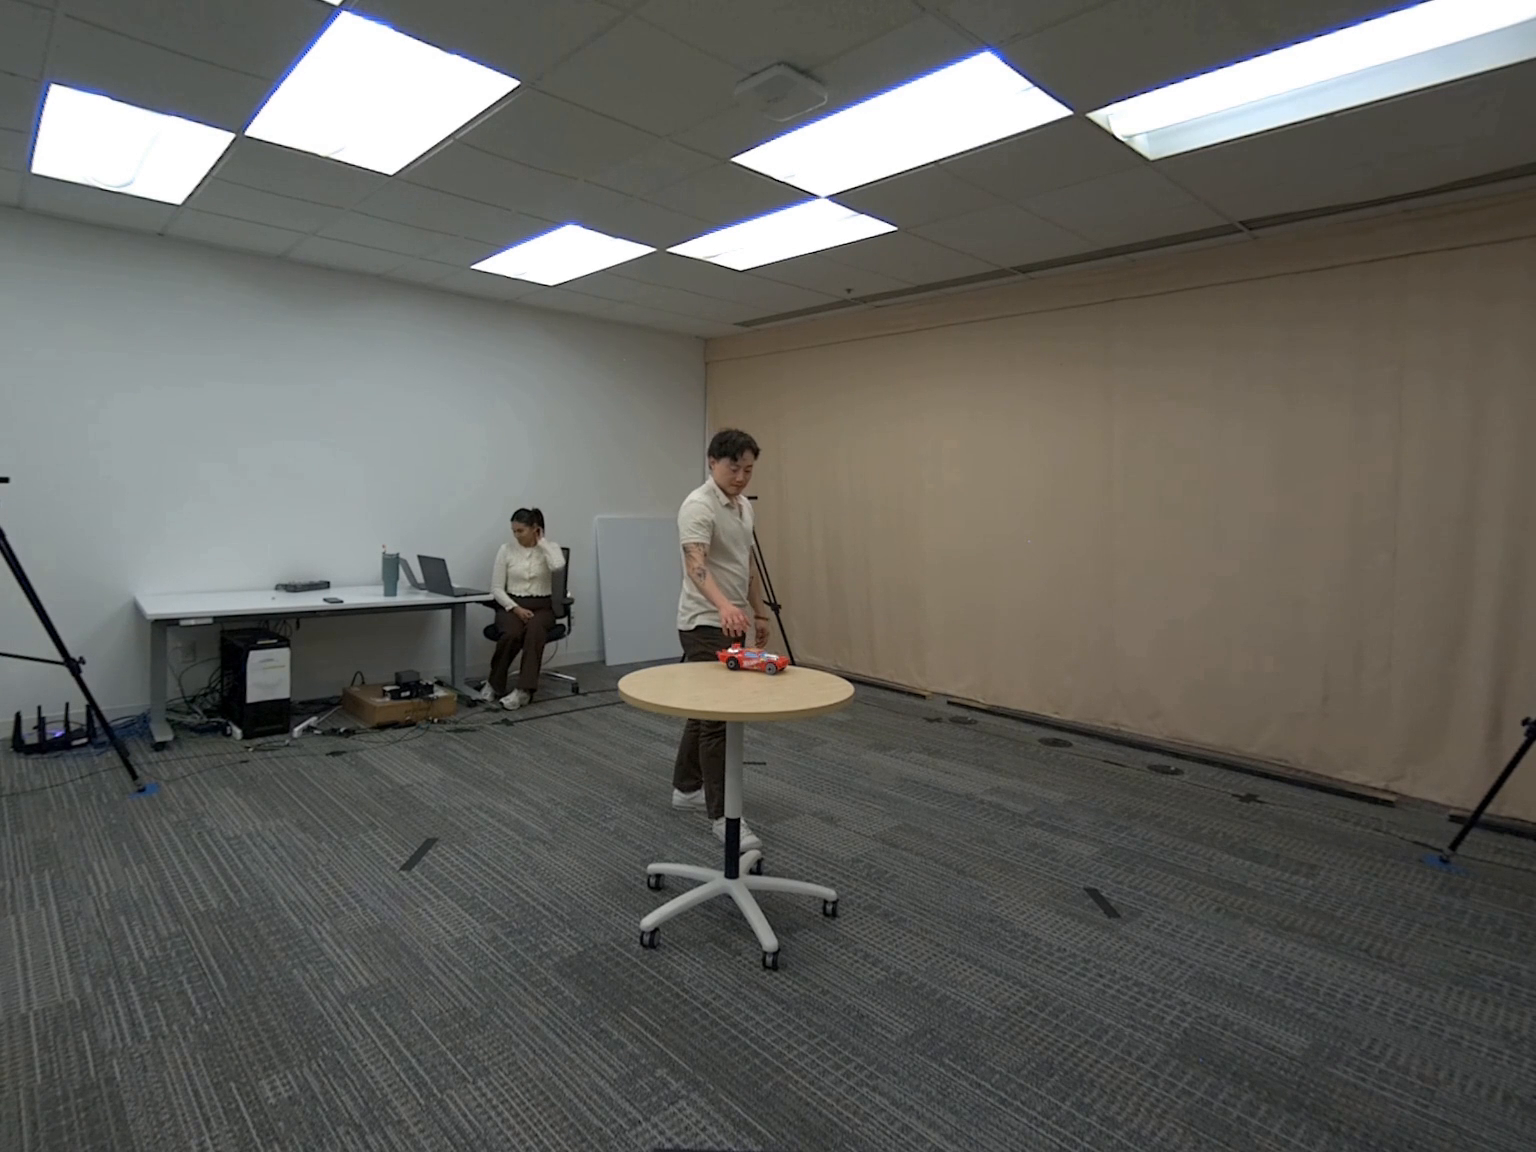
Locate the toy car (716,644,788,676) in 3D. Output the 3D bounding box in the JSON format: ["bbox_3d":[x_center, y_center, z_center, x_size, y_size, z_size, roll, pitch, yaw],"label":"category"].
[{"bbox_3d":[-0.065,0.304,2.982,0.260,0.083,0.128,15,9,22],"label":"toy car"}]
